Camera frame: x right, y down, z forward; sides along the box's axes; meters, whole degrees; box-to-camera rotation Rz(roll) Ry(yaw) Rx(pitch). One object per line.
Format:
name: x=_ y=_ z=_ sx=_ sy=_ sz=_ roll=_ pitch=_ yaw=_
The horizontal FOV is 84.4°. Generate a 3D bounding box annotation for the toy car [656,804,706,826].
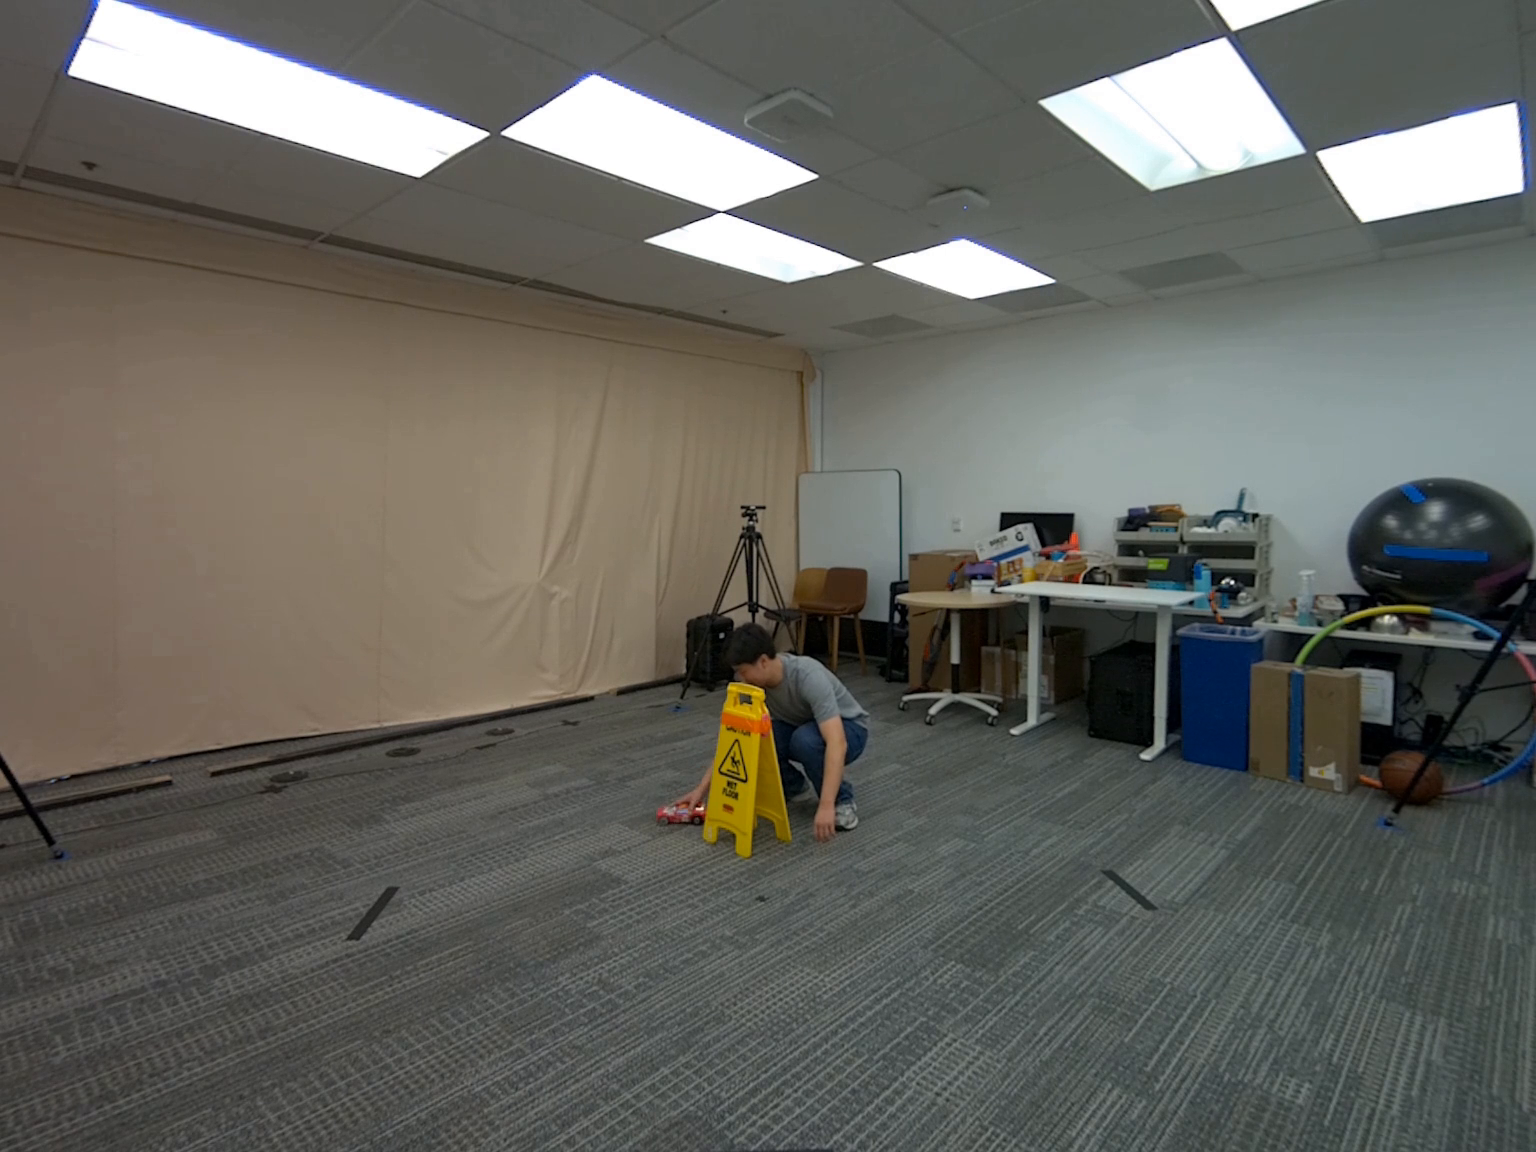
toy car: x=-0.358 y=1.060 z=3.741 sx=0.254 sy=0.083 sz=0.131 roll=-11 pitch=6 yaw=-1
